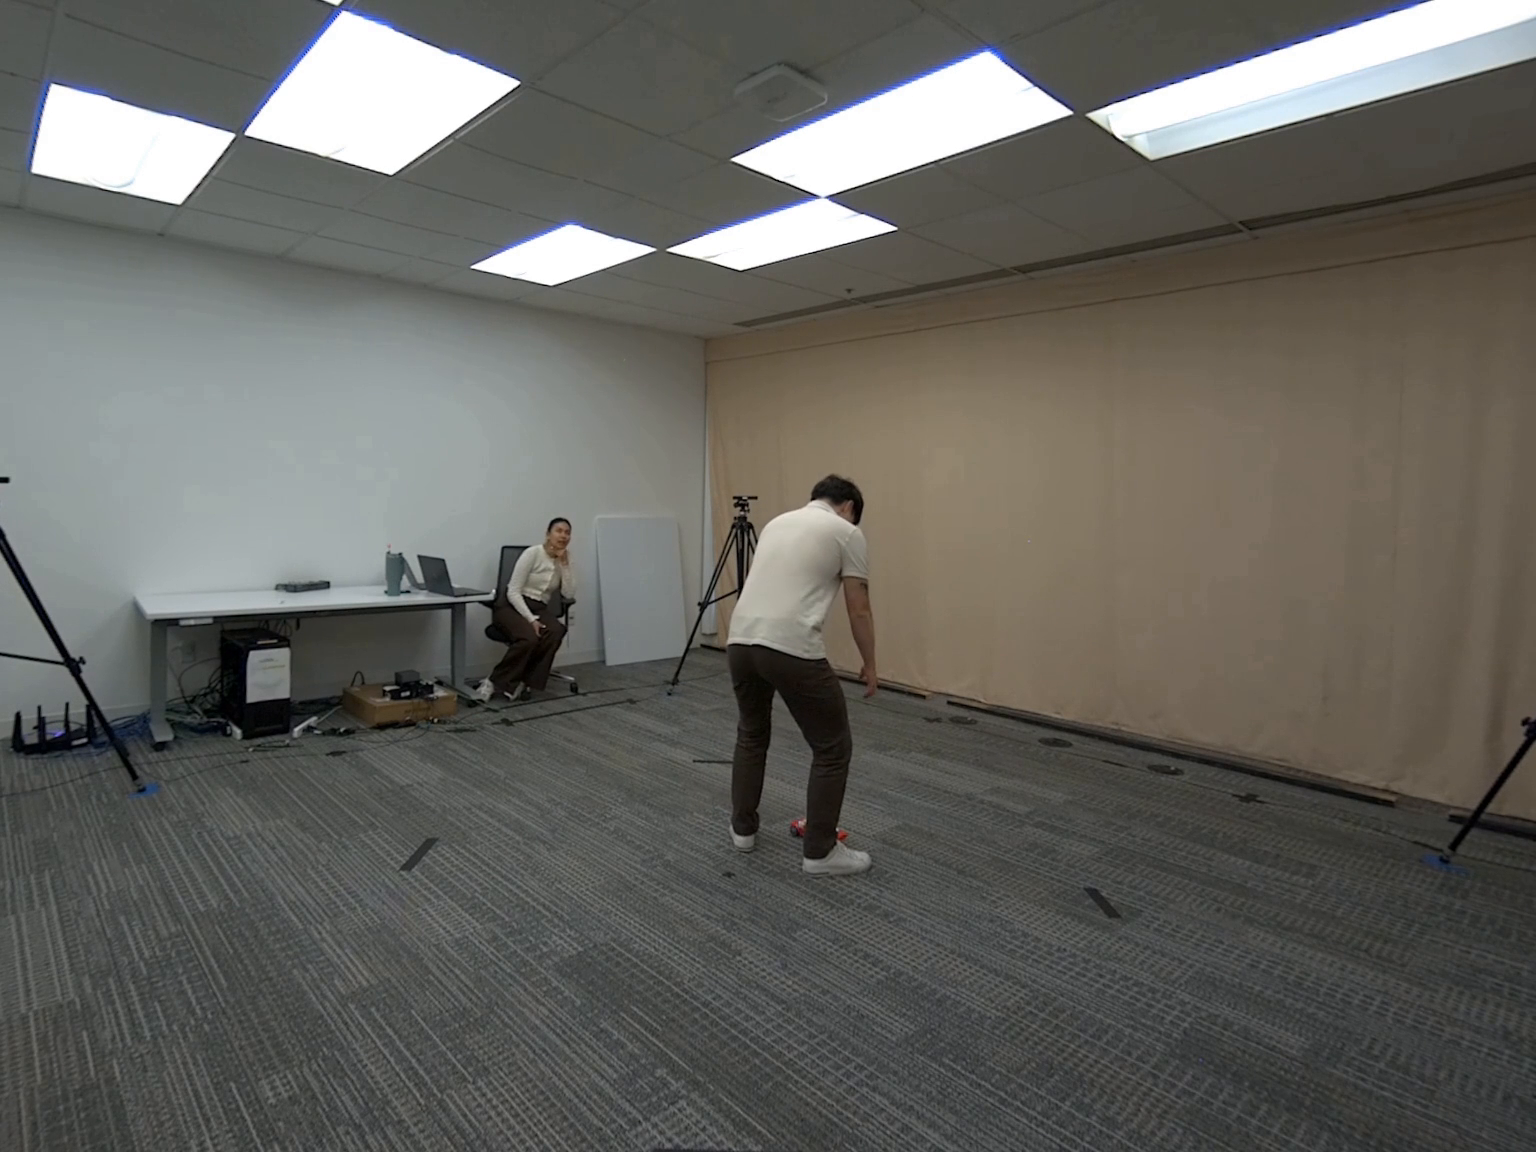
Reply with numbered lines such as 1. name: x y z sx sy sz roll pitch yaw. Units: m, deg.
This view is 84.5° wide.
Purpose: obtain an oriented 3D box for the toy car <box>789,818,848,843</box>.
1. toy car: 0.201 1.048 3.444 0.127 0.083 0.259 -2 -5 -43
